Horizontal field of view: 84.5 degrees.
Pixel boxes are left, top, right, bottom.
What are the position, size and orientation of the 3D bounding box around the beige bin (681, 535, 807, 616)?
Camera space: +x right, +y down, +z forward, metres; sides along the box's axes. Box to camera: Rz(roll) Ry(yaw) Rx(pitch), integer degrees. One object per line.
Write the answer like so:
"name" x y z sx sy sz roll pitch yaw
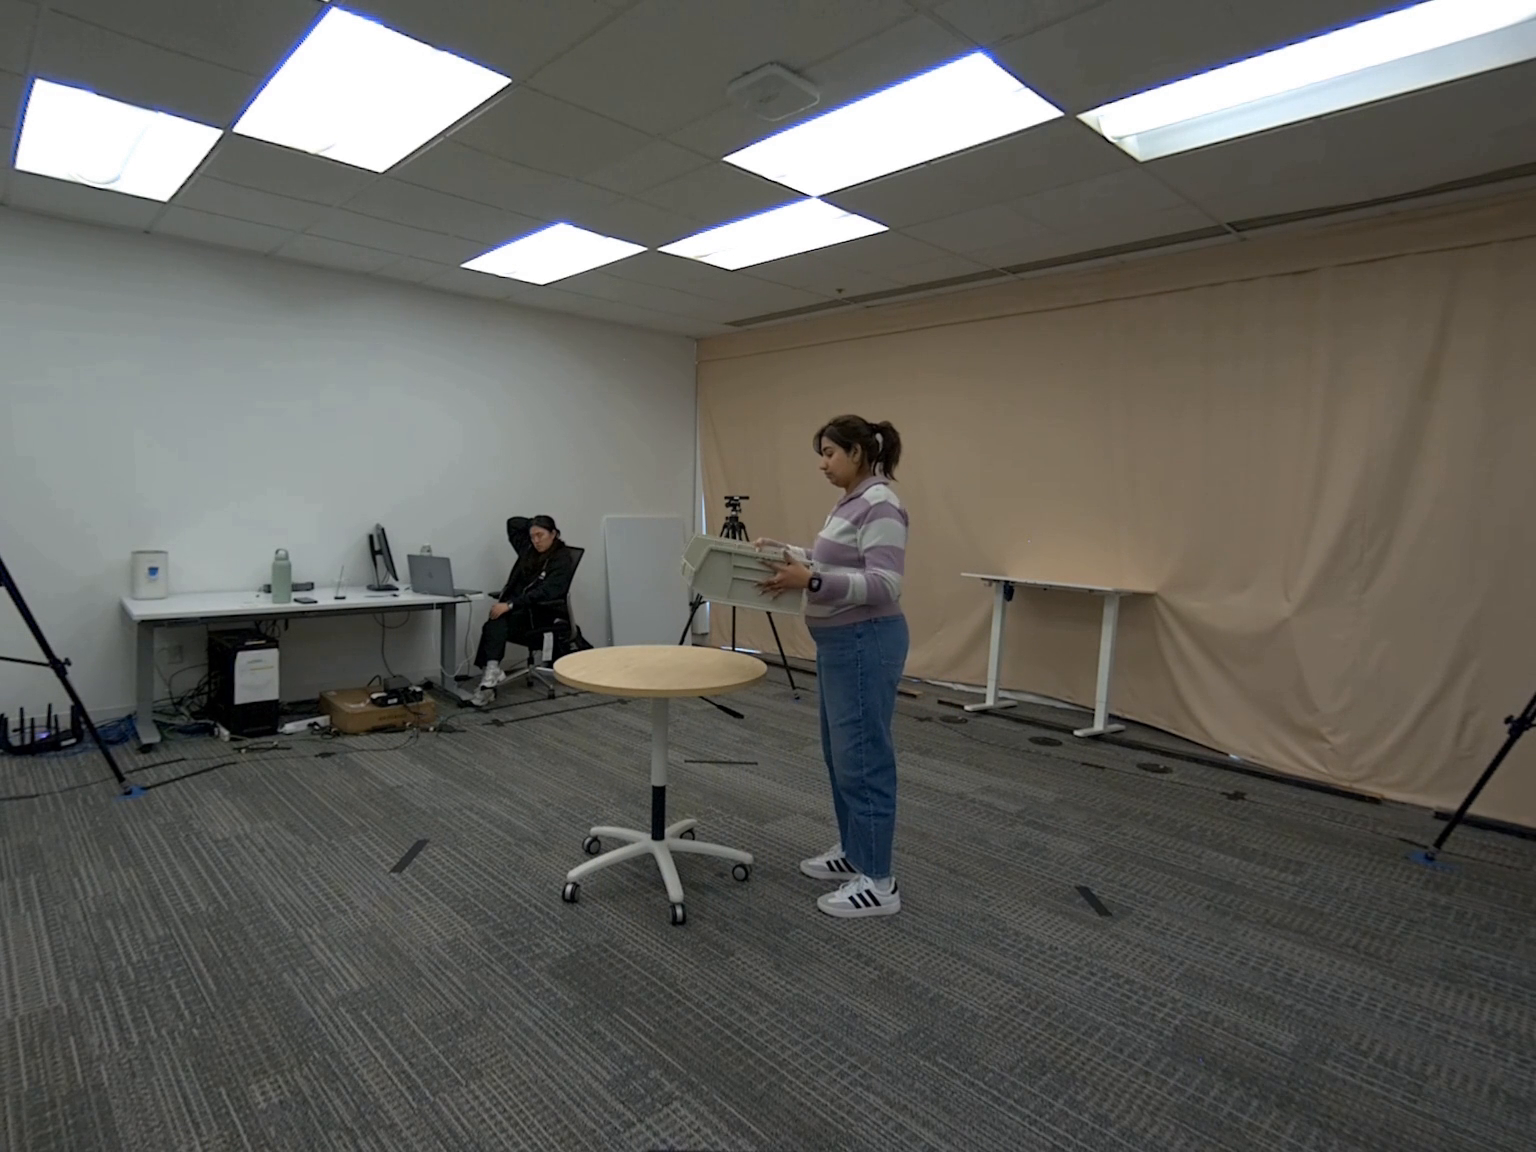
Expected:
"beige bin" -0.097 0.000 2.855 0.373 0.188 0.428 10 5 -12
